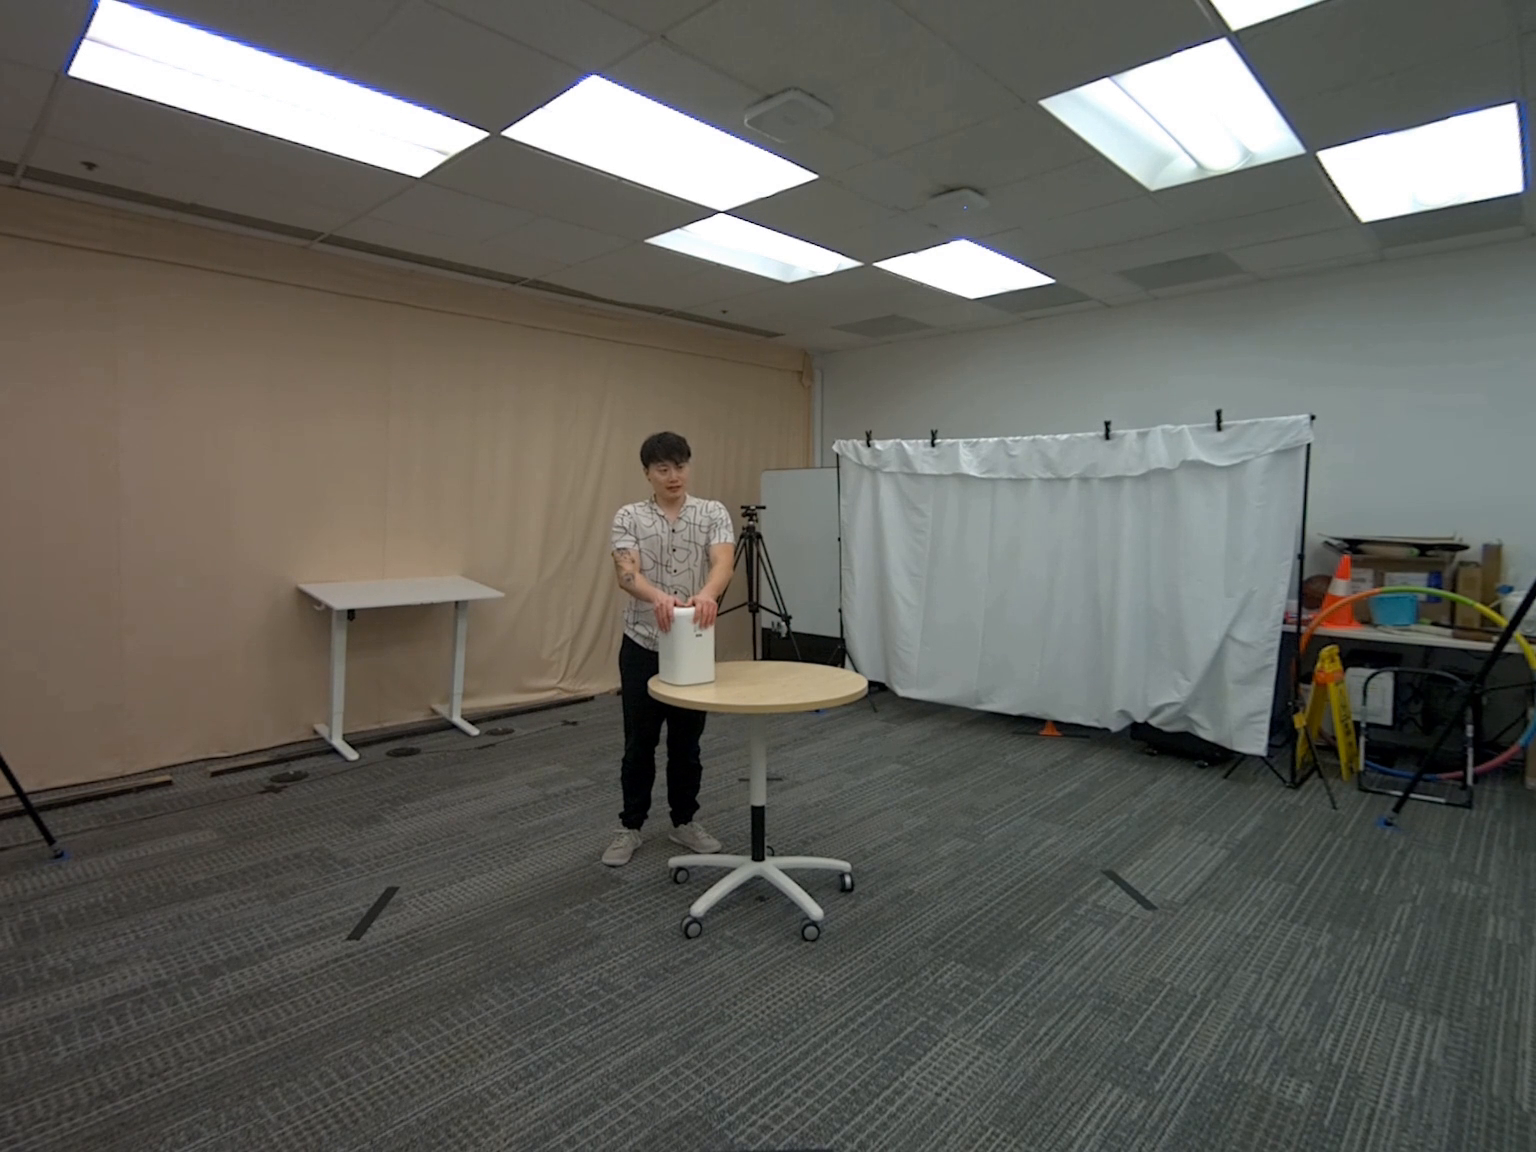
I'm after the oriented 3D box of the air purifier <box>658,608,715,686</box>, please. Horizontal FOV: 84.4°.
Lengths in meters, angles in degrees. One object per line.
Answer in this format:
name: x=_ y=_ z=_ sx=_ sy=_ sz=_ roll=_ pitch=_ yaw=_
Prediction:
air purifier: x=-0.283 y=0.235 z=2.961 sx=0.166 sy=0.265 sz=0.177 roll=-3 pitch=3 yaw=-34
